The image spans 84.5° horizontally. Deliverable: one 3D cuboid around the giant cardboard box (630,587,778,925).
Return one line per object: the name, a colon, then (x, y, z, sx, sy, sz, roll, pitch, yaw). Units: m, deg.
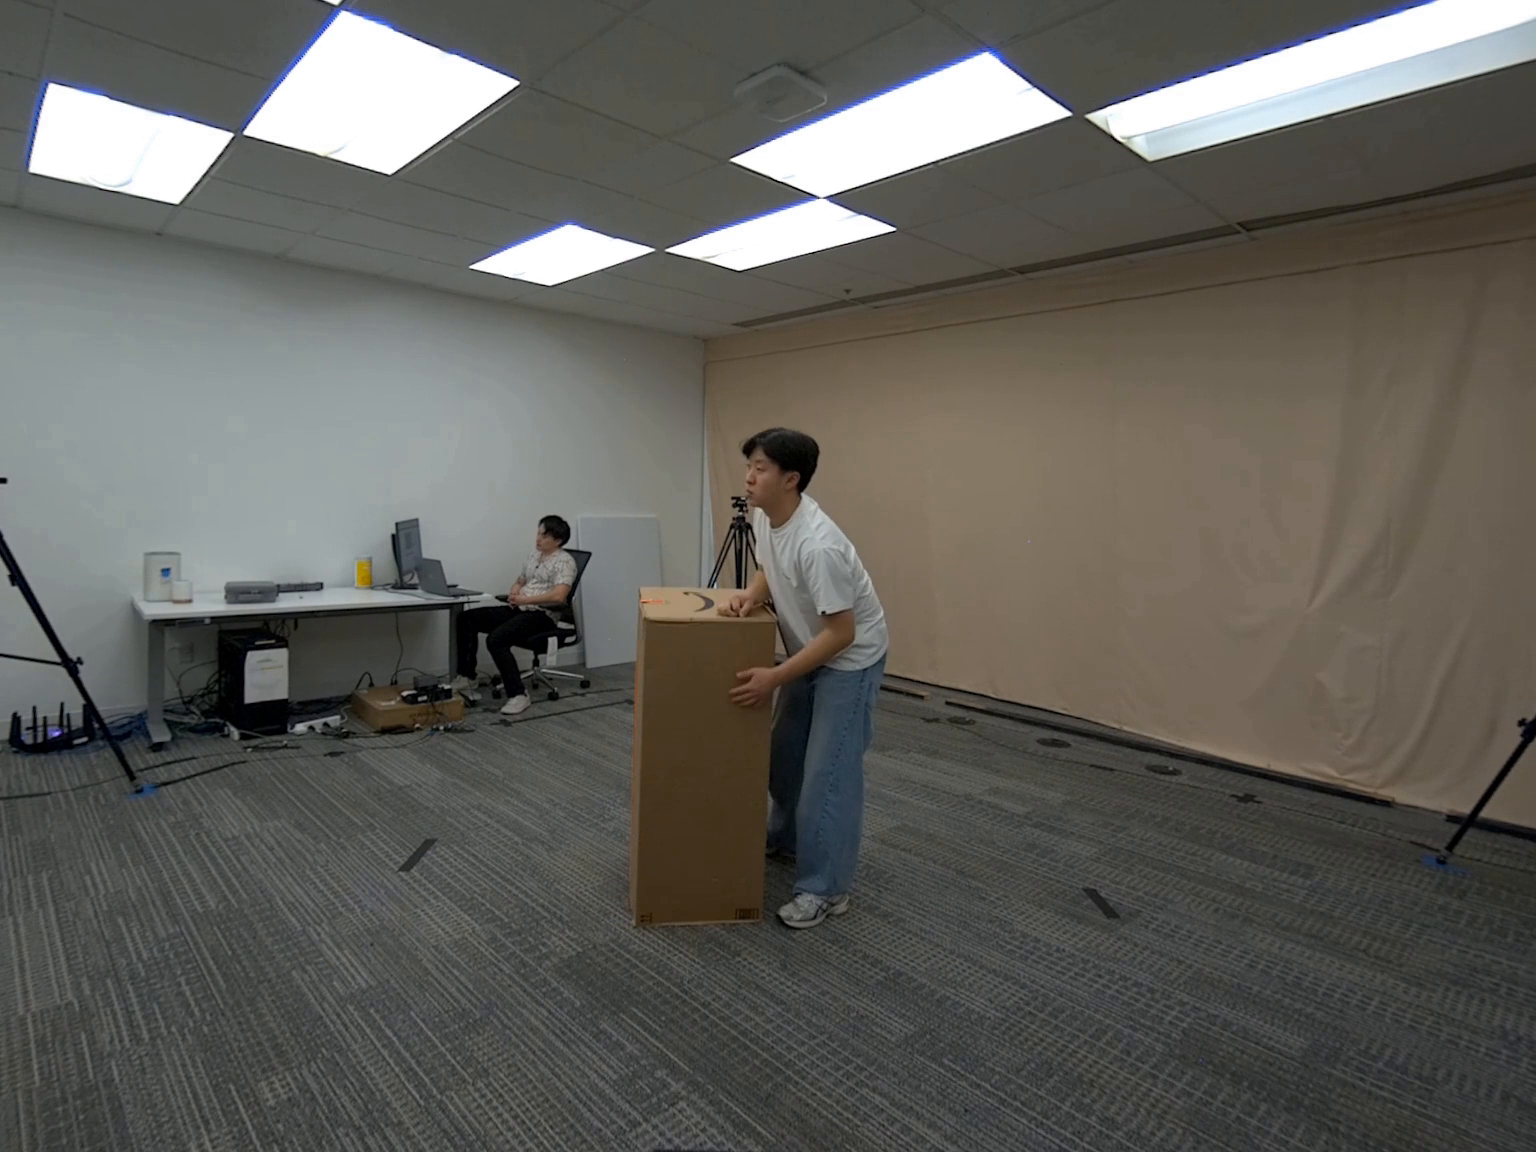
giant cardboard box: (-0.258, 0.590, 2.978, 0.423, 1.021, 0.584, 2, 6, -10)
